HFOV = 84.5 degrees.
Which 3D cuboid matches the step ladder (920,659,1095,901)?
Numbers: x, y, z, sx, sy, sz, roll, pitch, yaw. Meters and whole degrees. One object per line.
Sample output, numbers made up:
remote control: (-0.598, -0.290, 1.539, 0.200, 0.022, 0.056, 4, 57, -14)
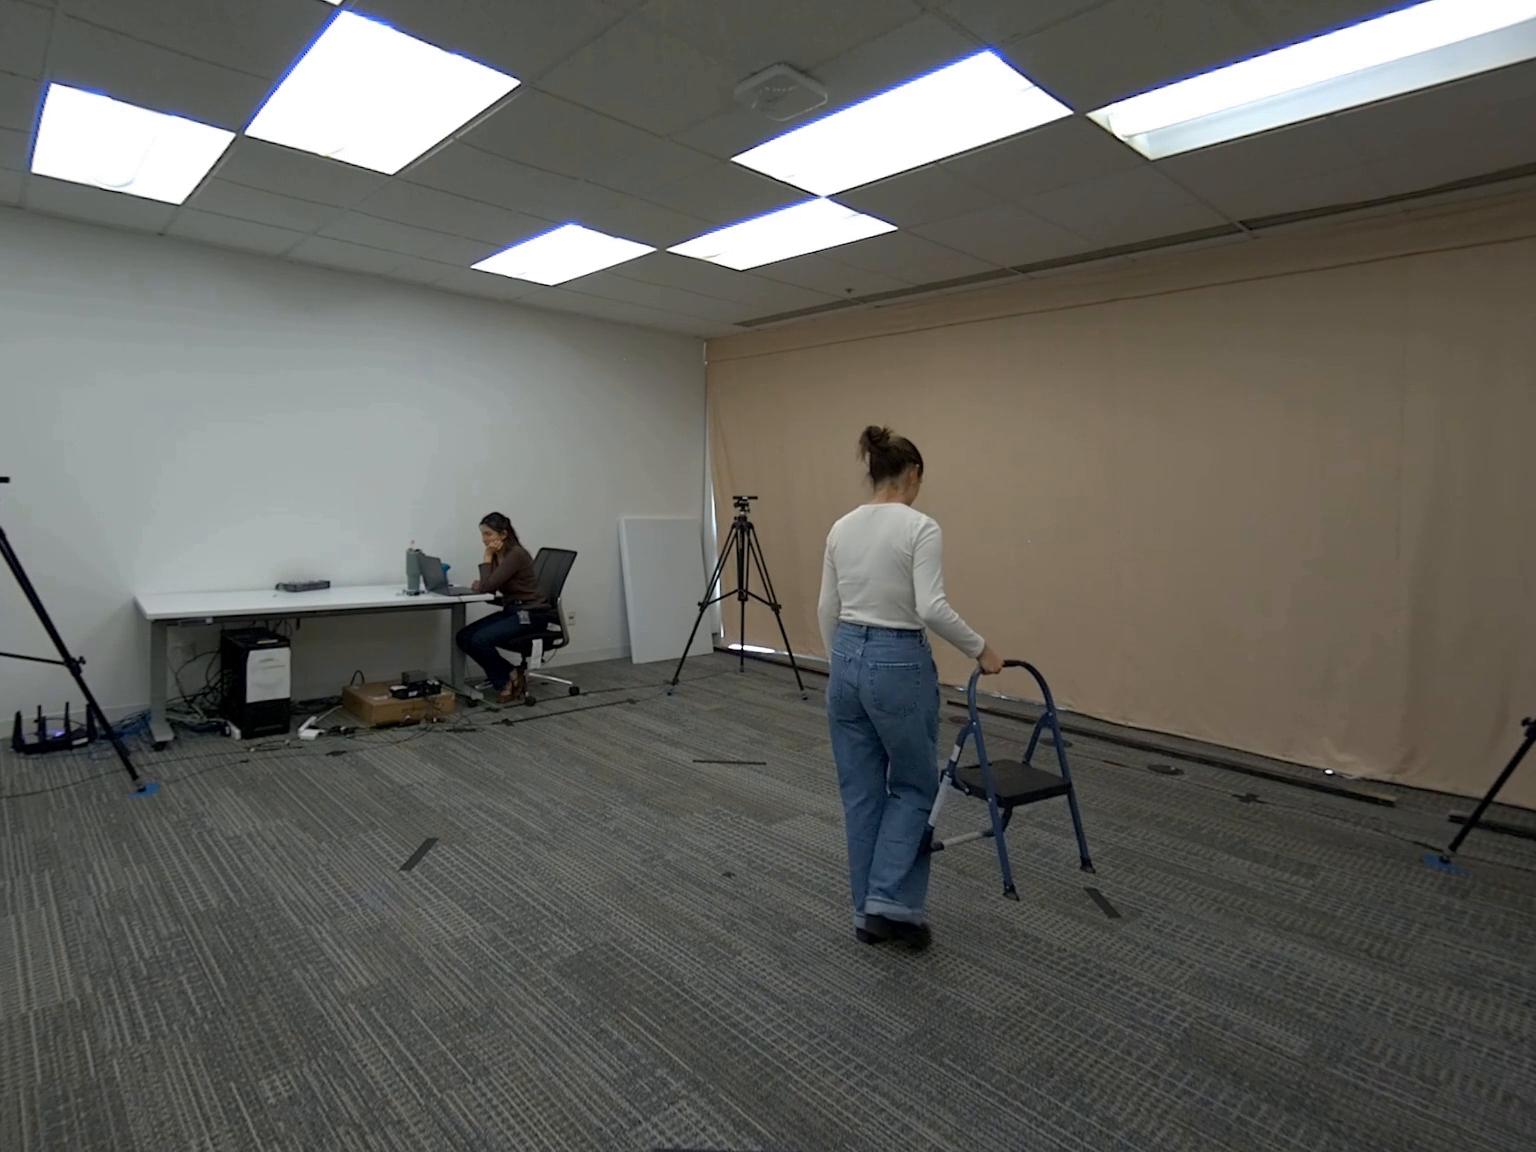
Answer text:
step ladder: (0.744, 0.581, 2.546, 0.420, 0.605, 0.358, 3, 4, -39)
